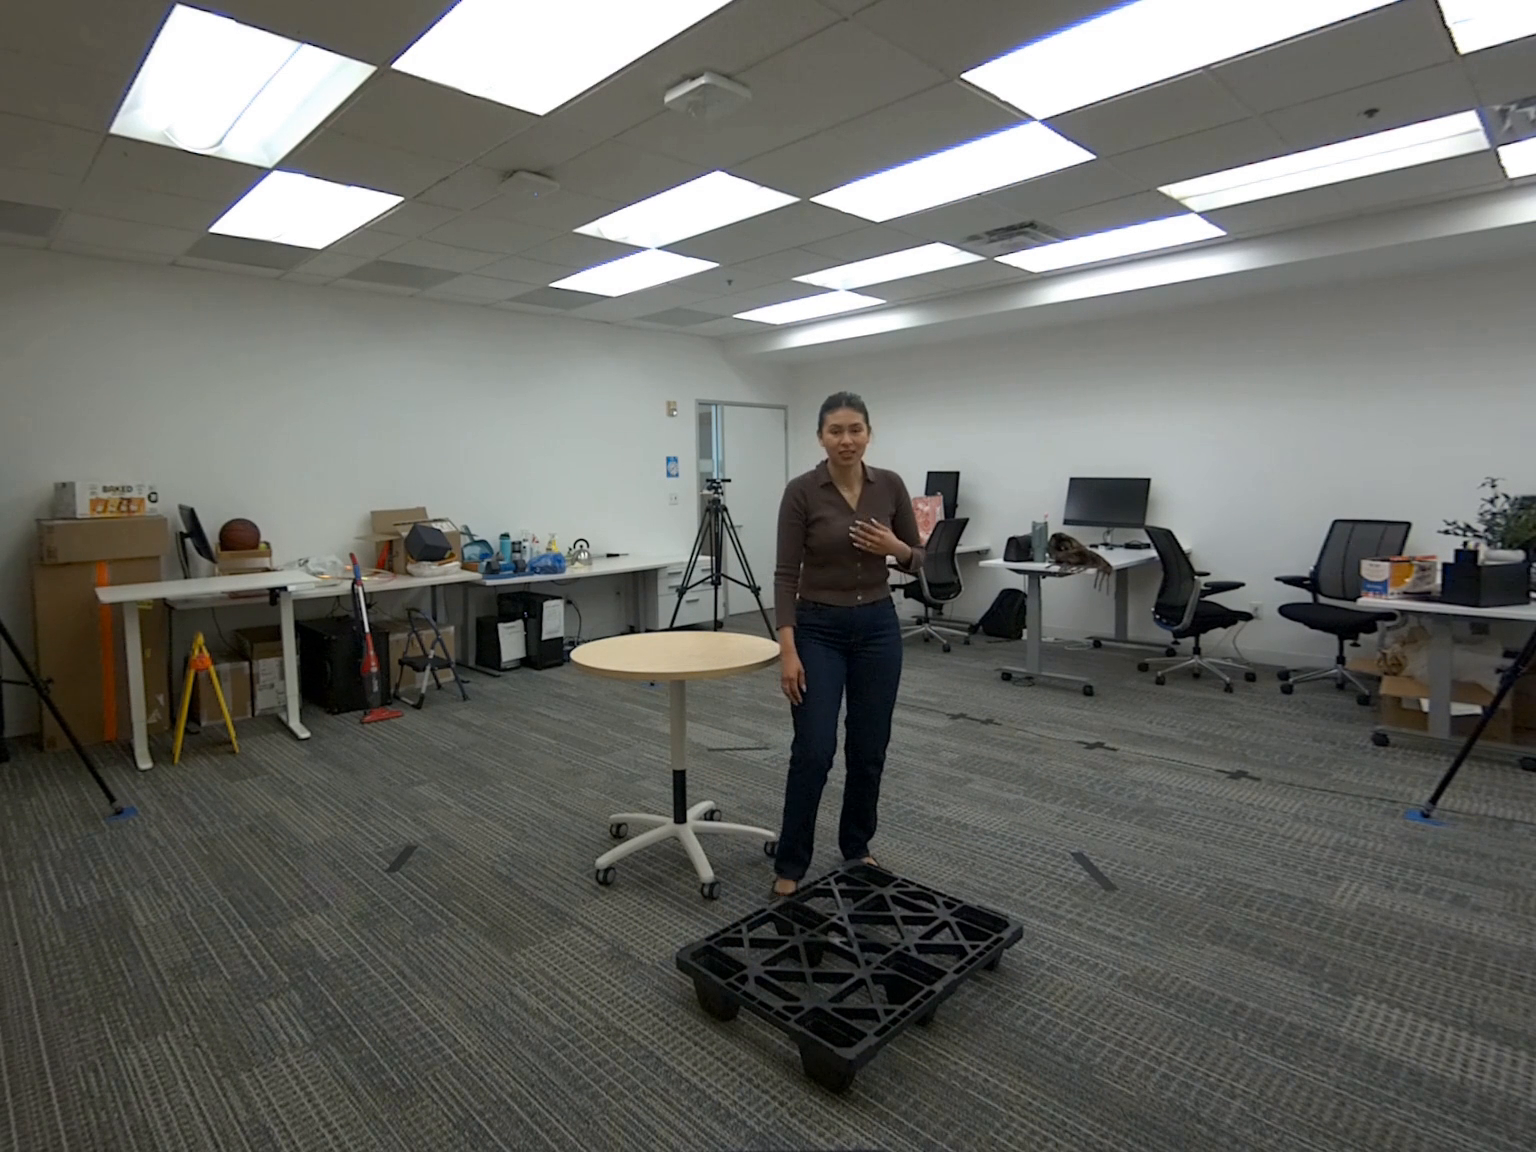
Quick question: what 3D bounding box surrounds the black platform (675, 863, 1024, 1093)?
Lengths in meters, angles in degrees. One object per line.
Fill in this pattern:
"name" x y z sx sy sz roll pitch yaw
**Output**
"black platform" 0.237 1.063 2.345 0.624 0.142 0.785 5 9 45
